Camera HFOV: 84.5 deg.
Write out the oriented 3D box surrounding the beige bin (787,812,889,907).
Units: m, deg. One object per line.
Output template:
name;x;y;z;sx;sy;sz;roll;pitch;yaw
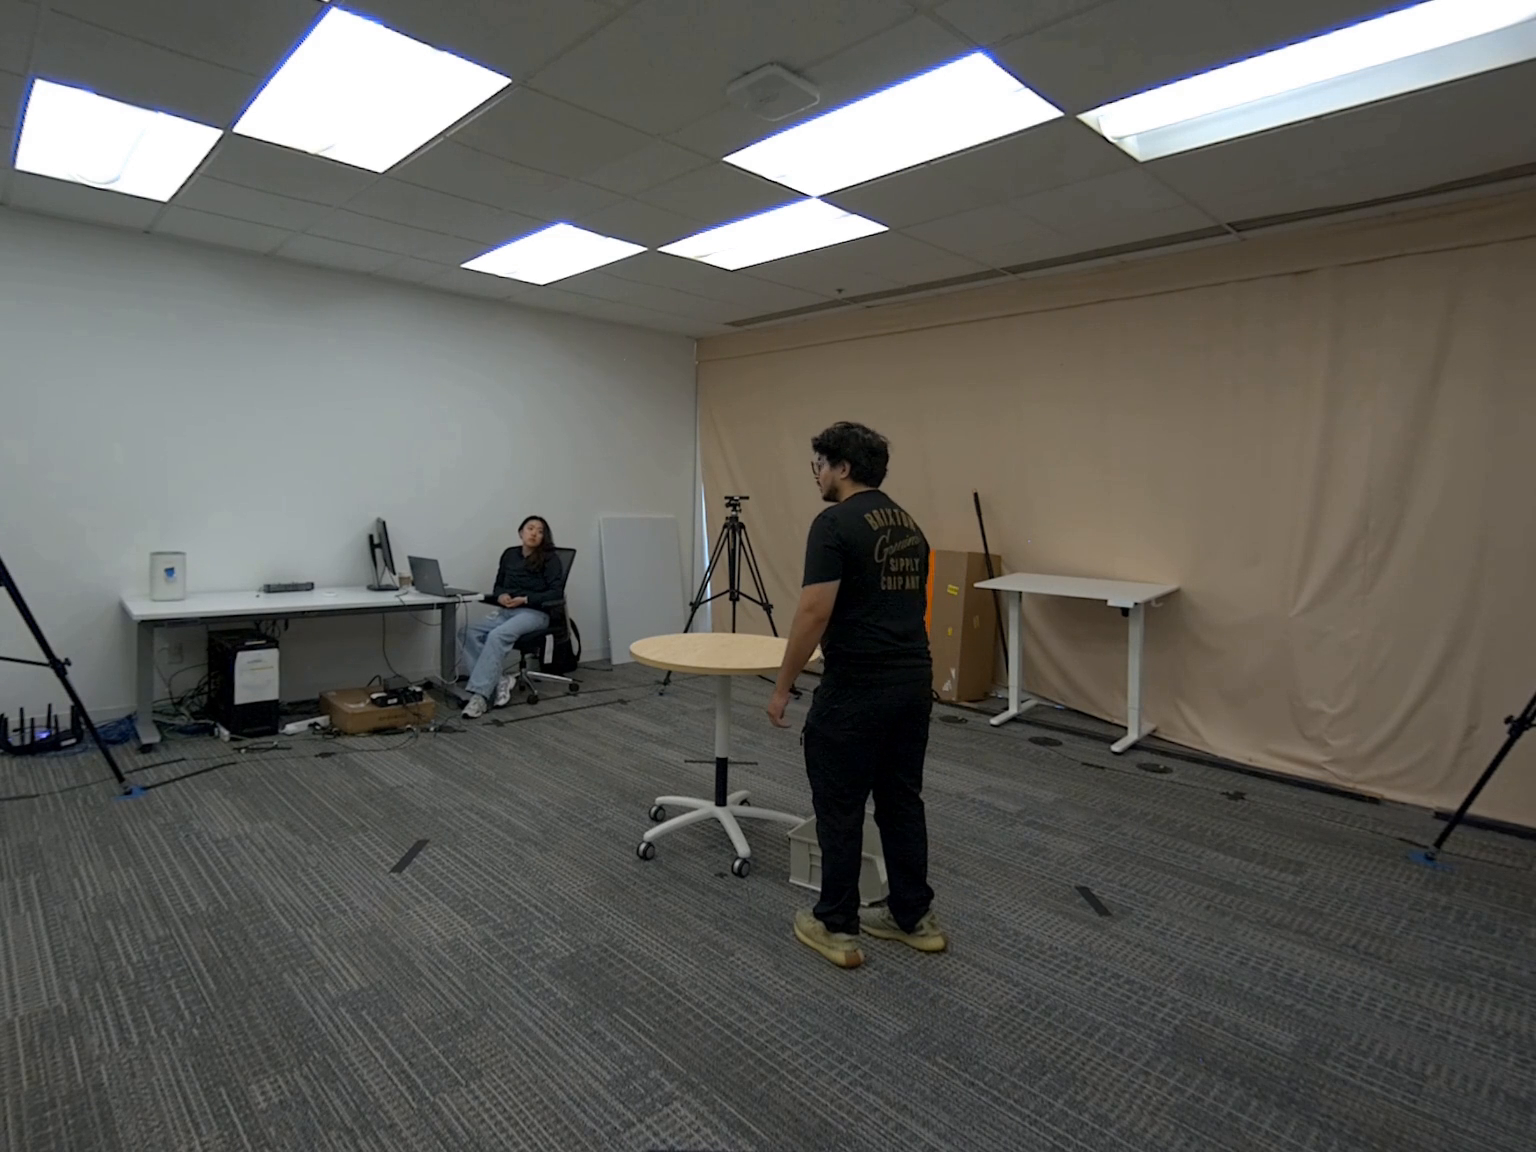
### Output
beige bin;0.327;1.026;3.128;0.386;0.188;0.414;3;5;31
